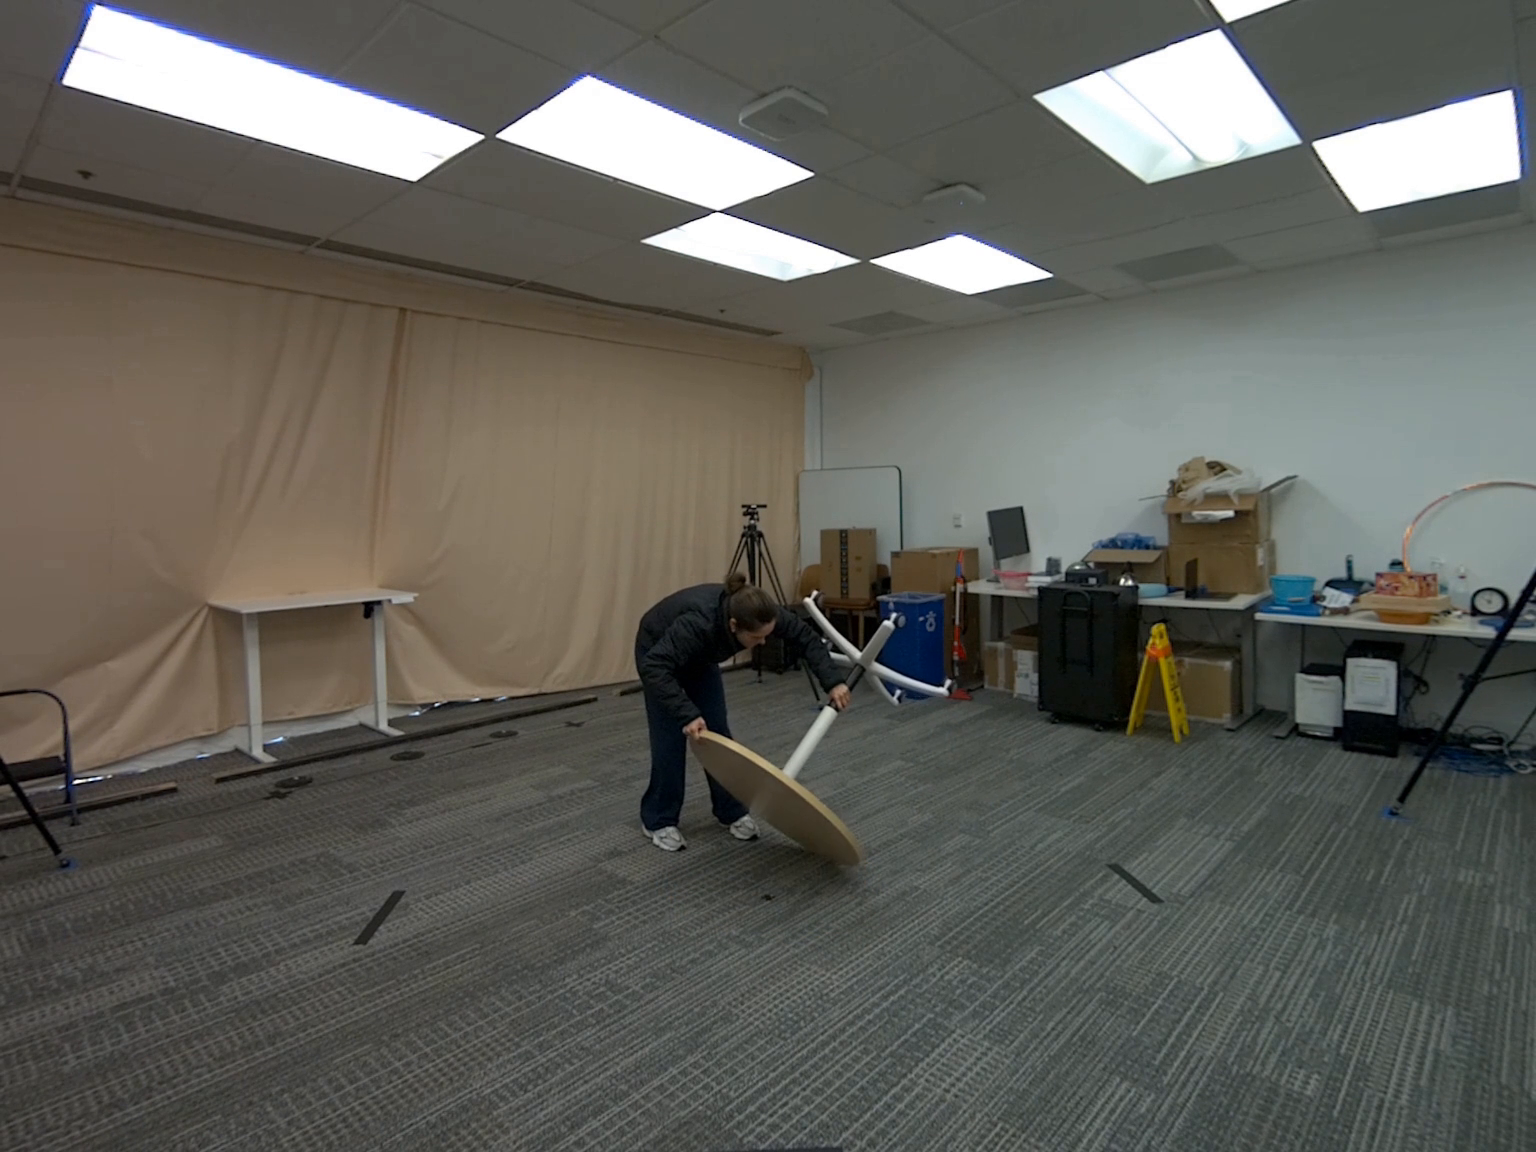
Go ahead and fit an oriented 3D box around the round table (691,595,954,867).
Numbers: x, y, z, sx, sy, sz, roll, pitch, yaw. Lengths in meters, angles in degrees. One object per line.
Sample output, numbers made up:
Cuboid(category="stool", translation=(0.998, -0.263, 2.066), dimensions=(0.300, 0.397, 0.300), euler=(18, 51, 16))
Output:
Cuboid(category="round table", translation=(0.246, 0.566, 3.314), dimensions=(0.810, 0.764, 0.783), euler=(4, 49, 54))
